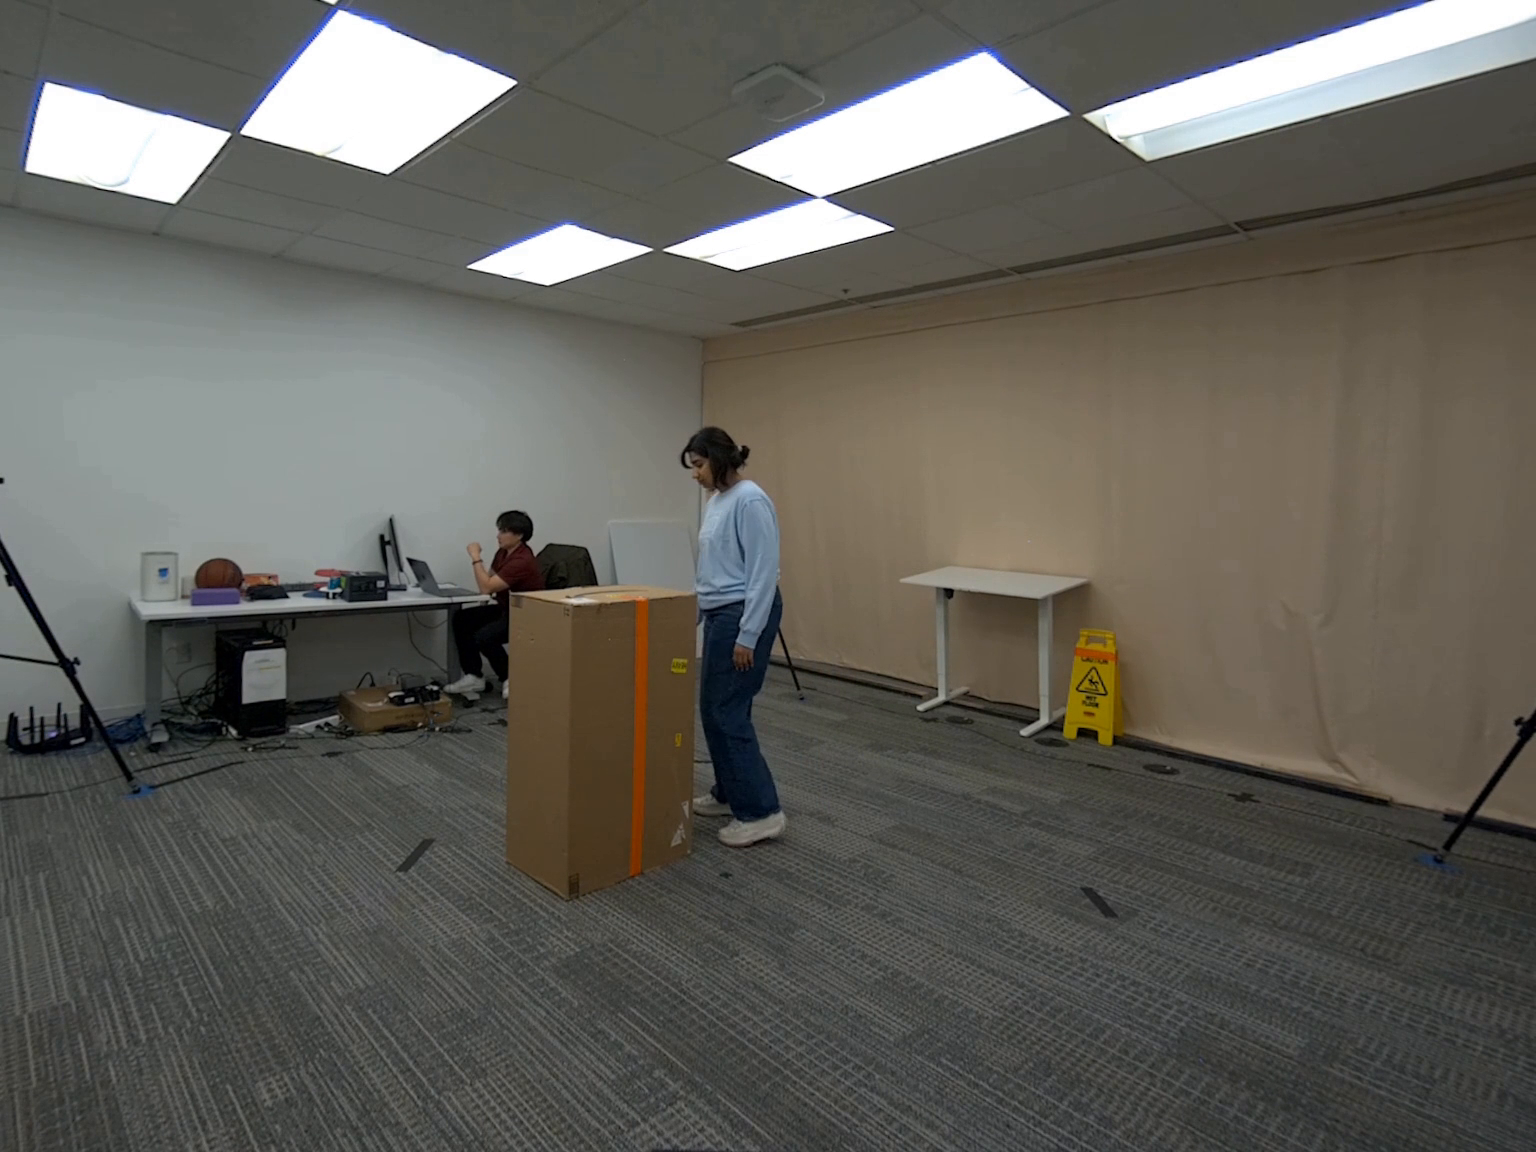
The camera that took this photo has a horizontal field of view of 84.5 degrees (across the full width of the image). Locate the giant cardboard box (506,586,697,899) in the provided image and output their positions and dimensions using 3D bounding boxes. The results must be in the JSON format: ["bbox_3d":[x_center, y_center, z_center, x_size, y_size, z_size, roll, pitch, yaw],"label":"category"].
[{"bbox_3d":[-0.638,0.576,3.196,0.570,1.024,0.458,-2,5,-45],"label":"giant cardboard box"}]
